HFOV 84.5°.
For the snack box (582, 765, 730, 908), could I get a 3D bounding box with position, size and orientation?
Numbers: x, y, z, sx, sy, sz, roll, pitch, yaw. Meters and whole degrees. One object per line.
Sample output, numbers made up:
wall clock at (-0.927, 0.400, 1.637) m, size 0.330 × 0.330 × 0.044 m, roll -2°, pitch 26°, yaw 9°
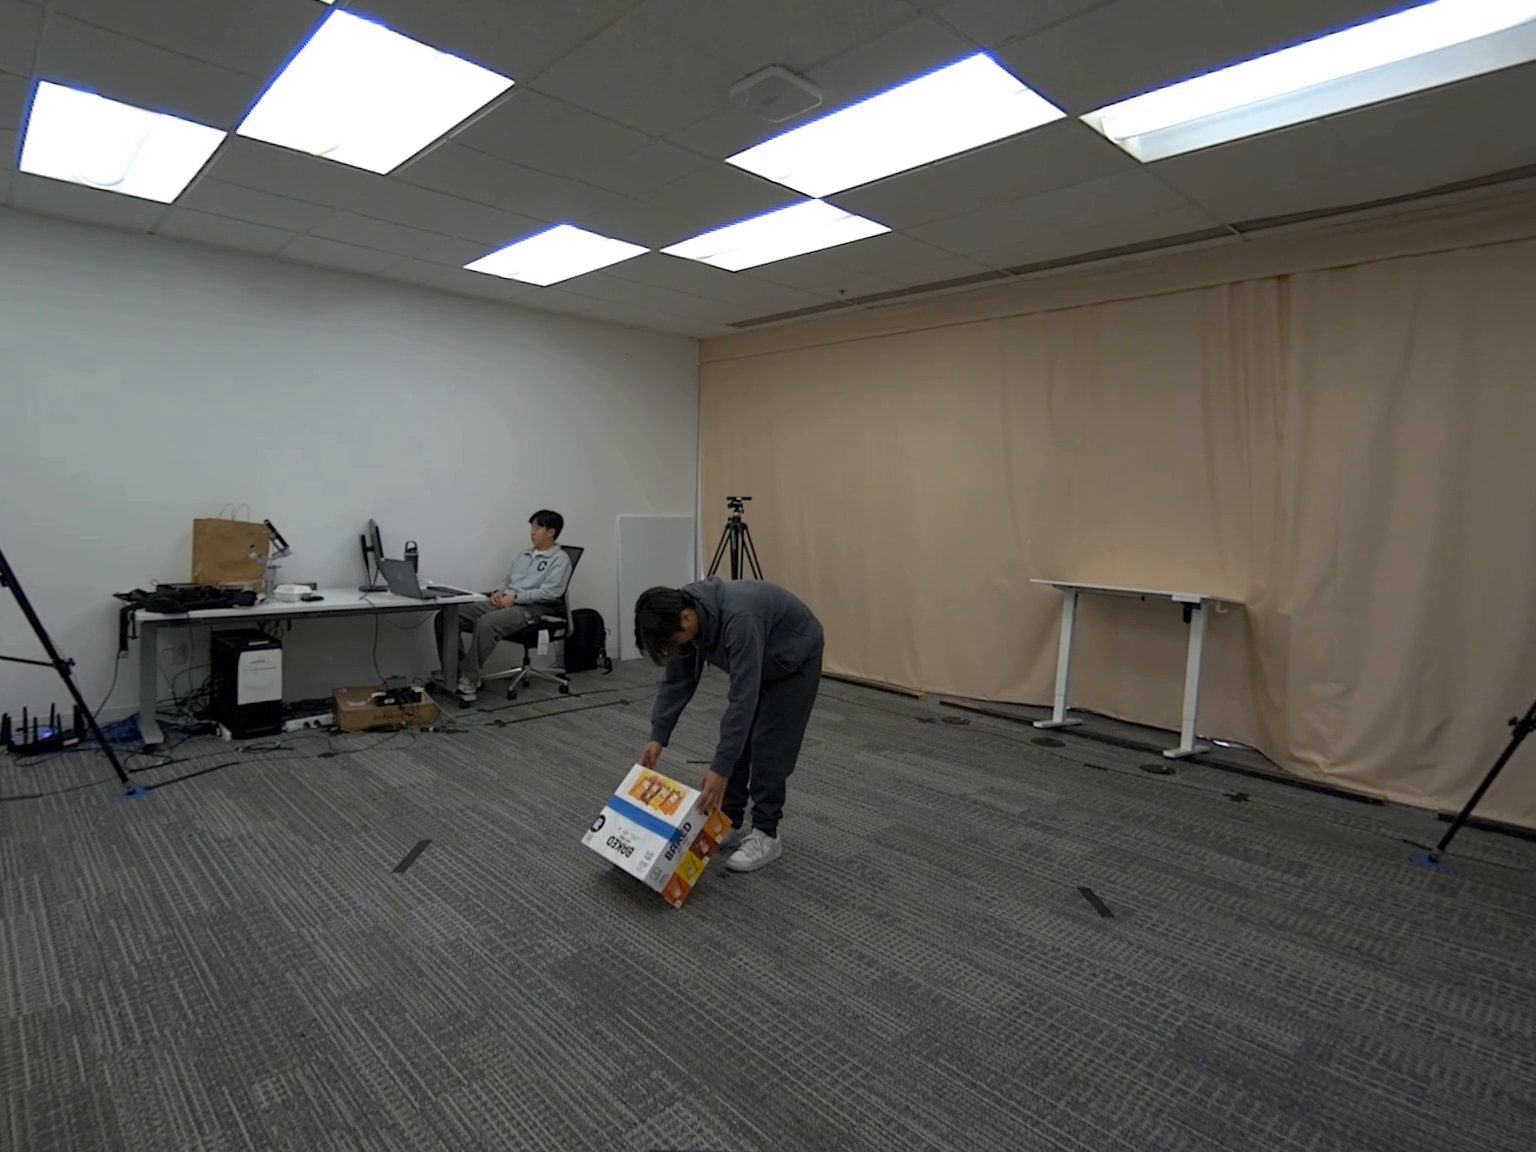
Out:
snack box at (-0.409, 0.922, 3.014) m, size 0.415 × 0.341 × 0.200 m, roll 6°, pitch -38°, yaw 48°
